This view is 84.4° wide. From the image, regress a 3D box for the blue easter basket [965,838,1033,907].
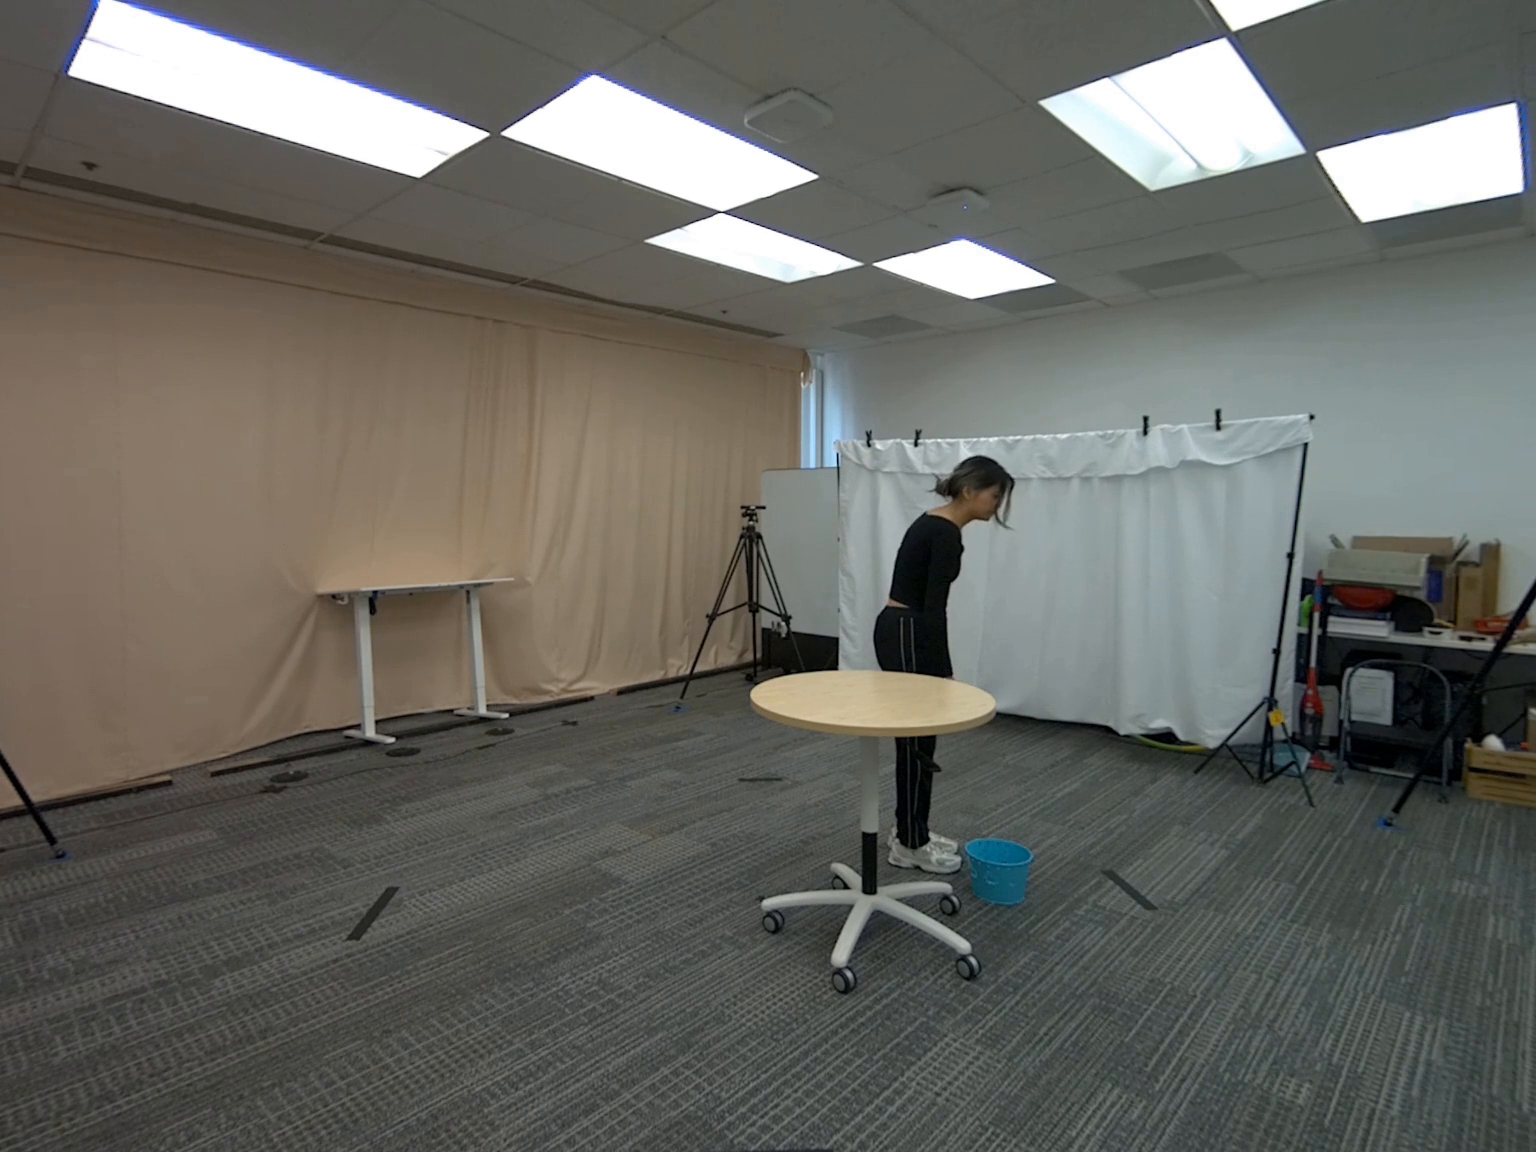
[{"bbox_3d":[0.834,1.060,3.021,0.243,0.155,0.244,0,4,-2],"label":"blue easter basket"}]
